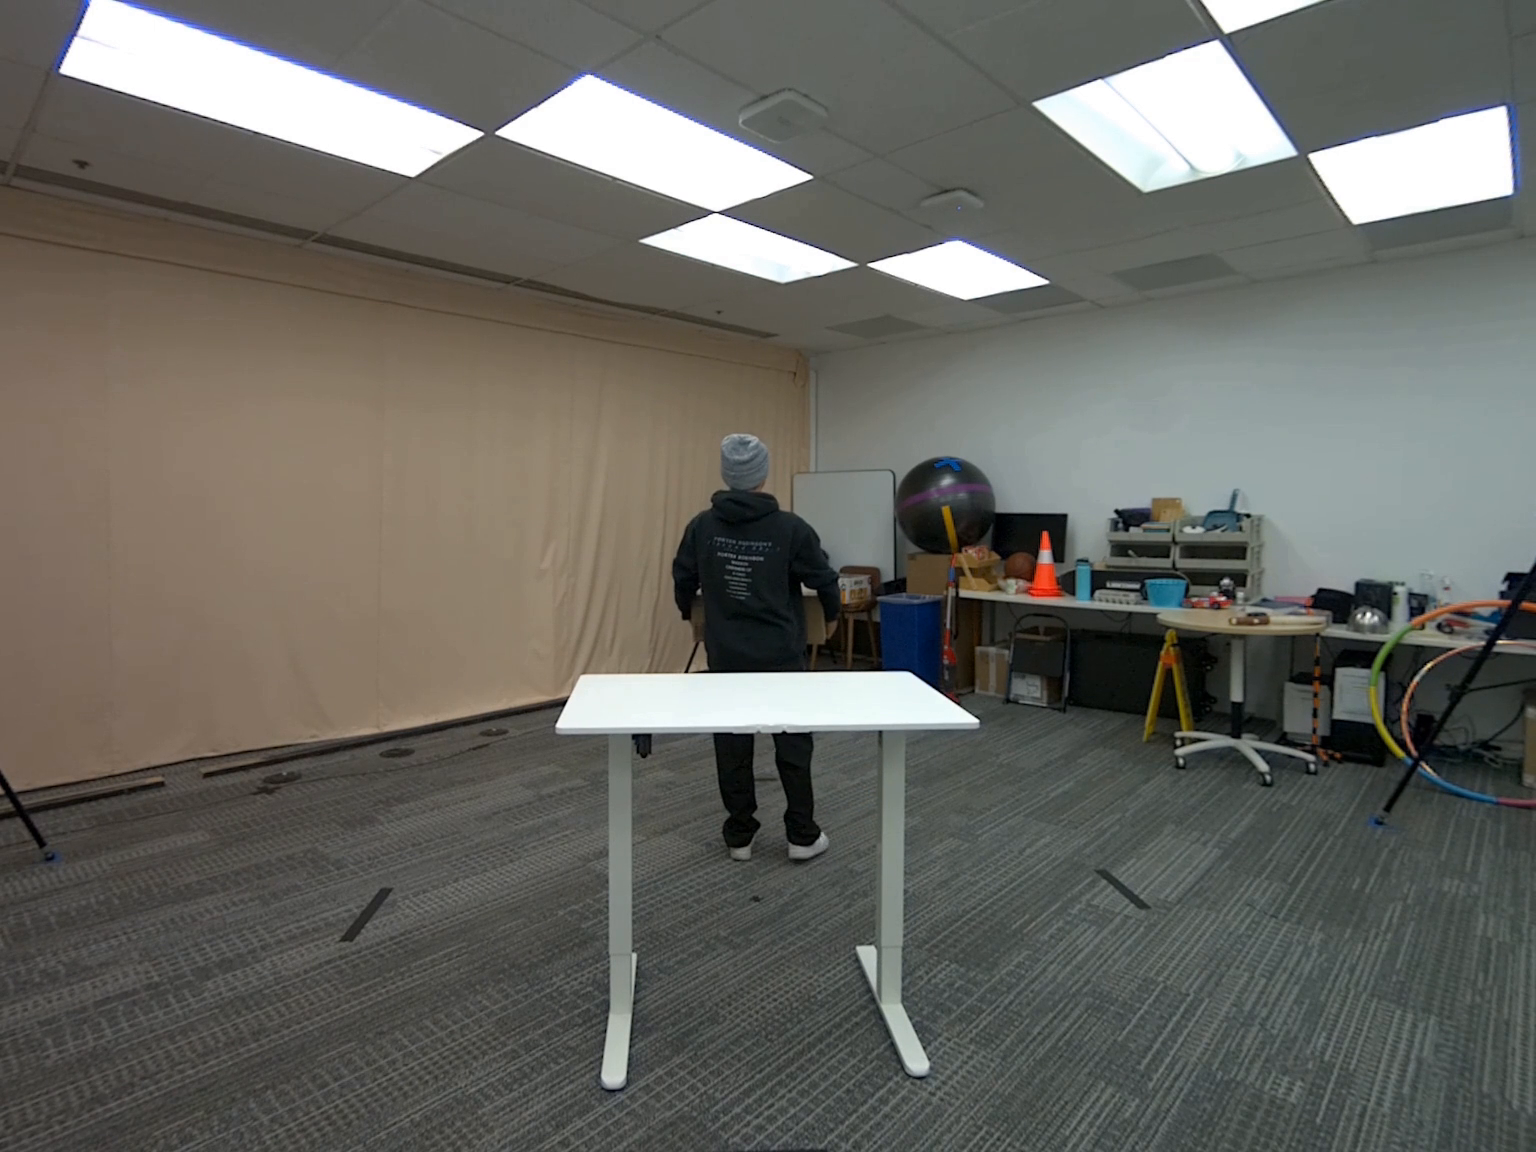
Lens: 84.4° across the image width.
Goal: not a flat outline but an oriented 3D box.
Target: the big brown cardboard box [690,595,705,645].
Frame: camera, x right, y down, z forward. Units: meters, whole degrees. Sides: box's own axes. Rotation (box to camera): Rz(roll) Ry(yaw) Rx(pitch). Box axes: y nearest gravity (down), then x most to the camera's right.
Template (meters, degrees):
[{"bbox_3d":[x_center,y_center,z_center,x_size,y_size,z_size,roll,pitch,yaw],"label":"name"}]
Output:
[{"bbox_3d":[0.000,0.129,3.723,0.596,0.231,0.415,-1,12,11],"label":"big brown cardboard box"}]
